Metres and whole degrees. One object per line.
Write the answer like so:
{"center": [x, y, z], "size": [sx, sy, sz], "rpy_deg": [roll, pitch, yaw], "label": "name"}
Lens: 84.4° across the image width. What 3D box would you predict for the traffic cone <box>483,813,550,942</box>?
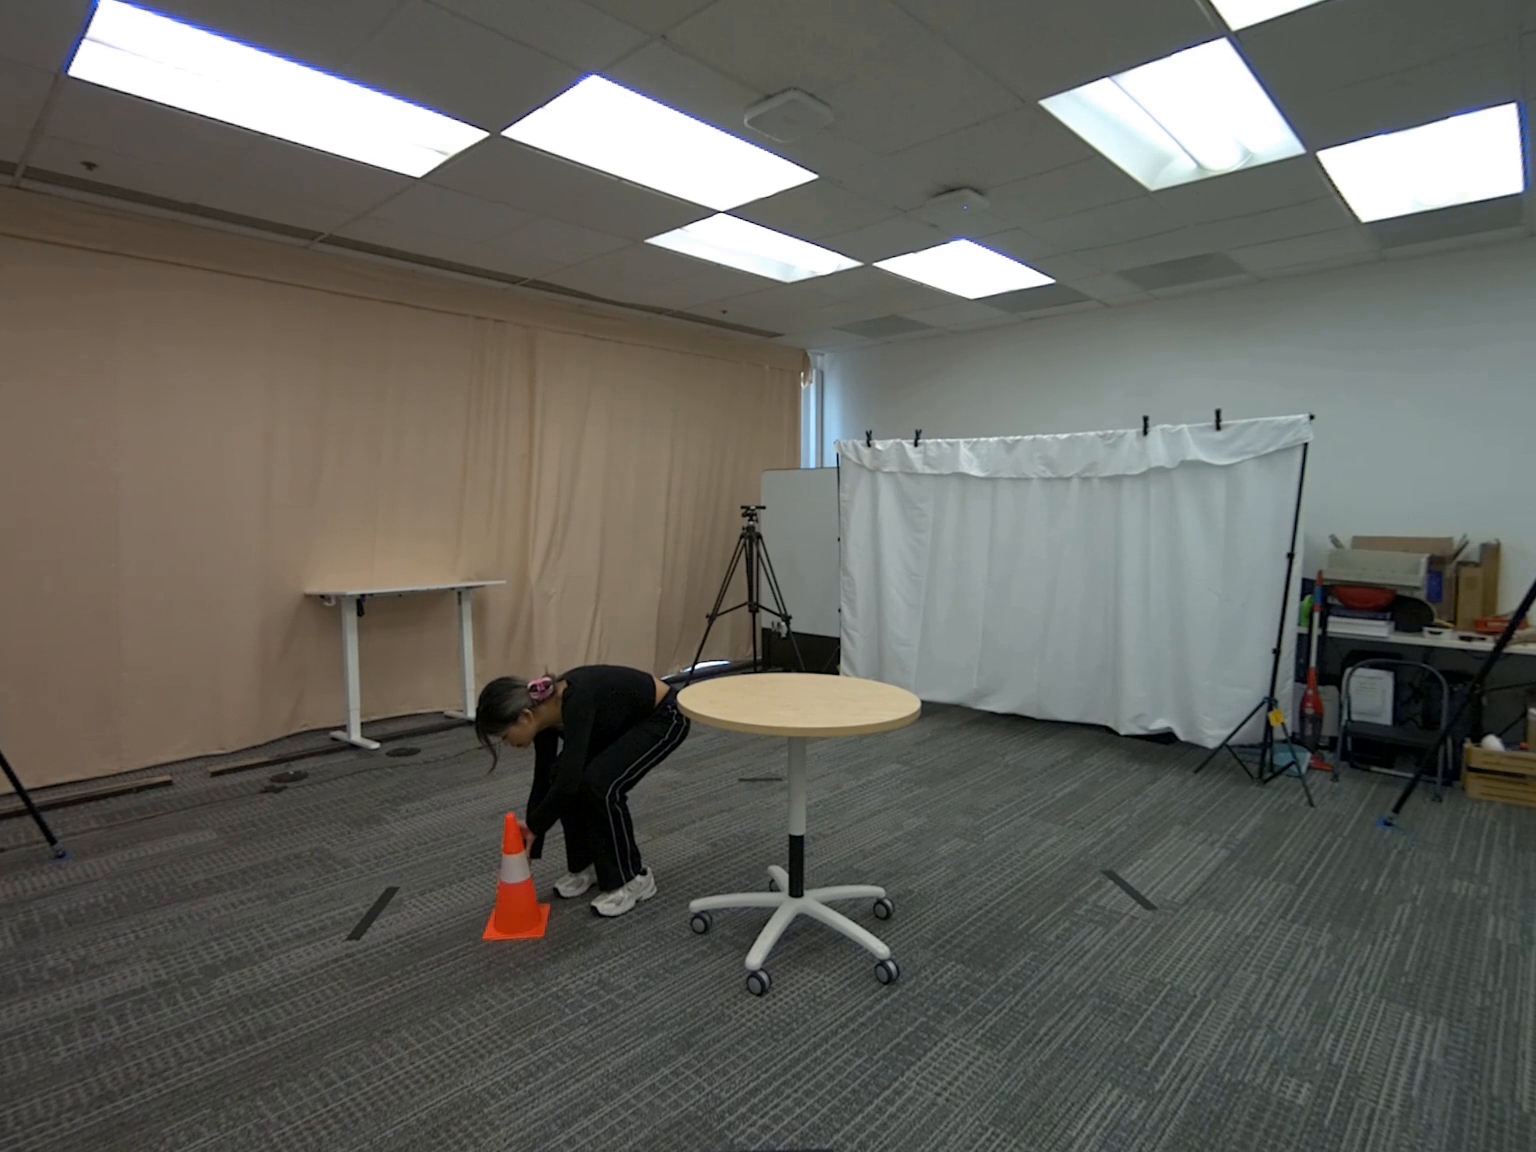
{"center": [-0.833, 0.981, 2.791], "size": [0.205, 0.382, 0.204], "rpy_deg": [2, 8, -1], "label": "traffic cone"}
